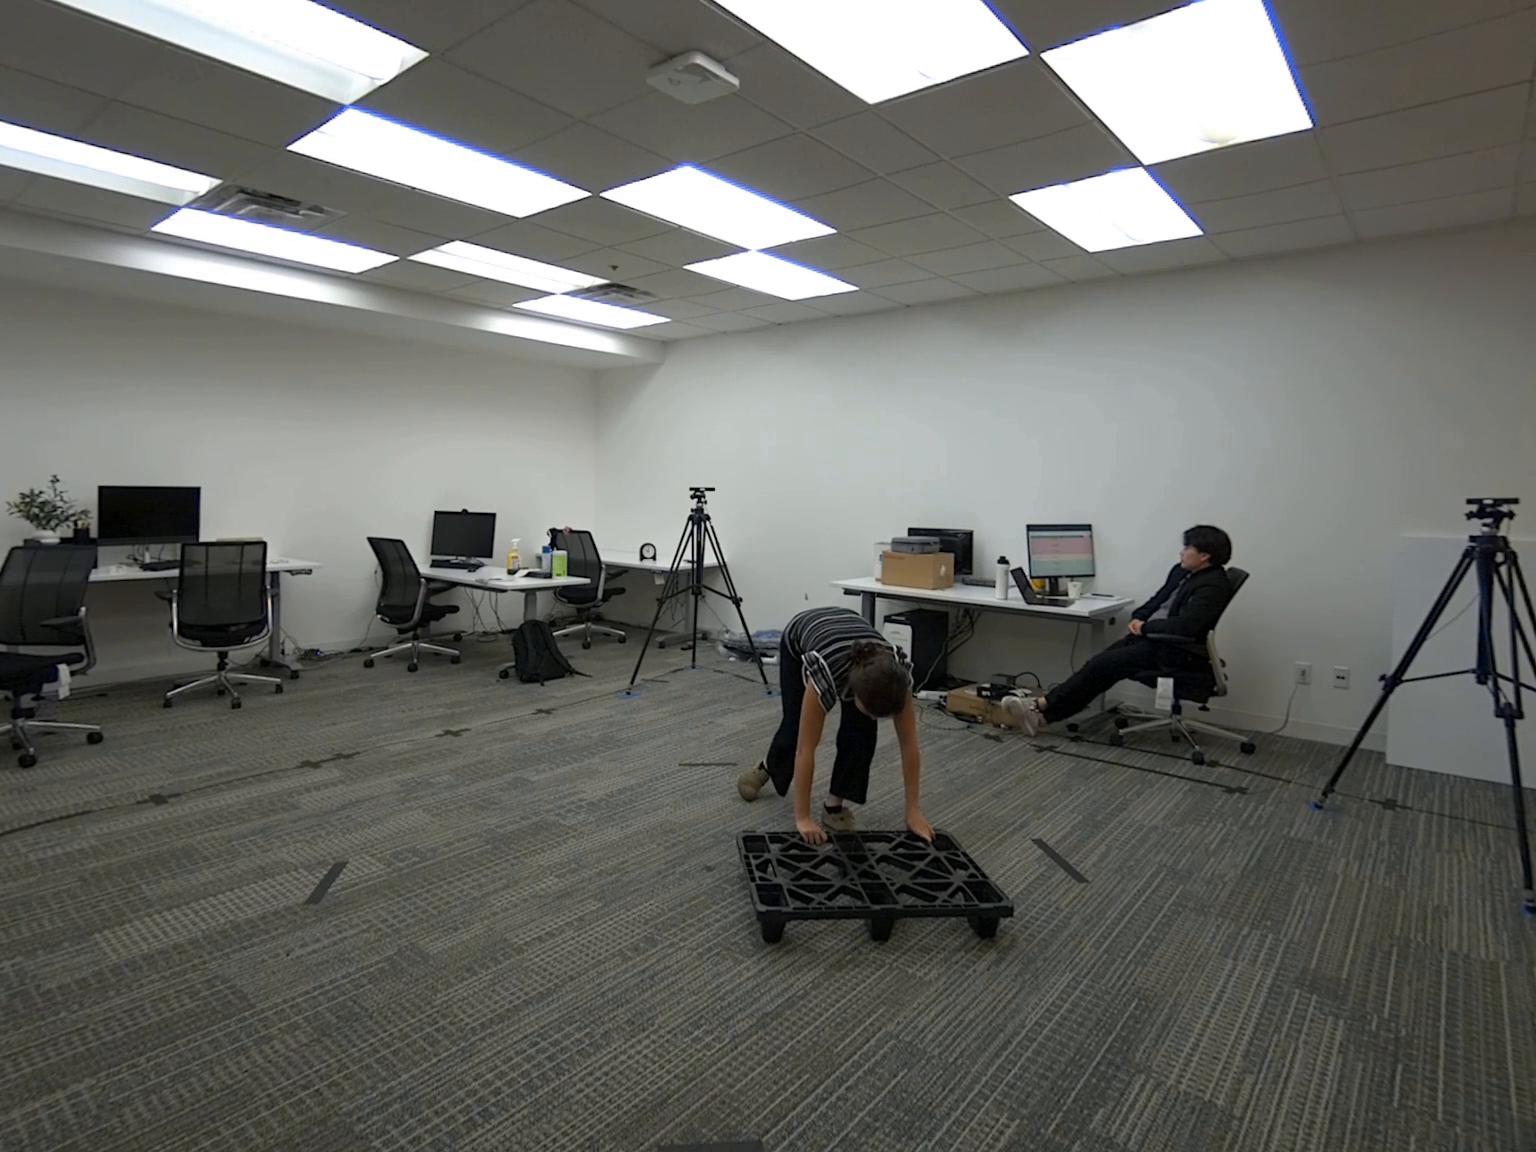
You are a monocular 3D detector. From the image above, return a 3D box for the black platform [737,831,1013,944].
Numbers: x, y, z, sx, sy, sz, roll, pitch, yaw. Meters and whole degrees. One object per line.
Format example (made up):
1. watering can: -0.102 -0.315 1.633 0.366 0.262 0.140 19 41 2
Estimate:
1. black platform: 0.312 1.034 2.864 0.801 0.142 0.612 0 6 -6
